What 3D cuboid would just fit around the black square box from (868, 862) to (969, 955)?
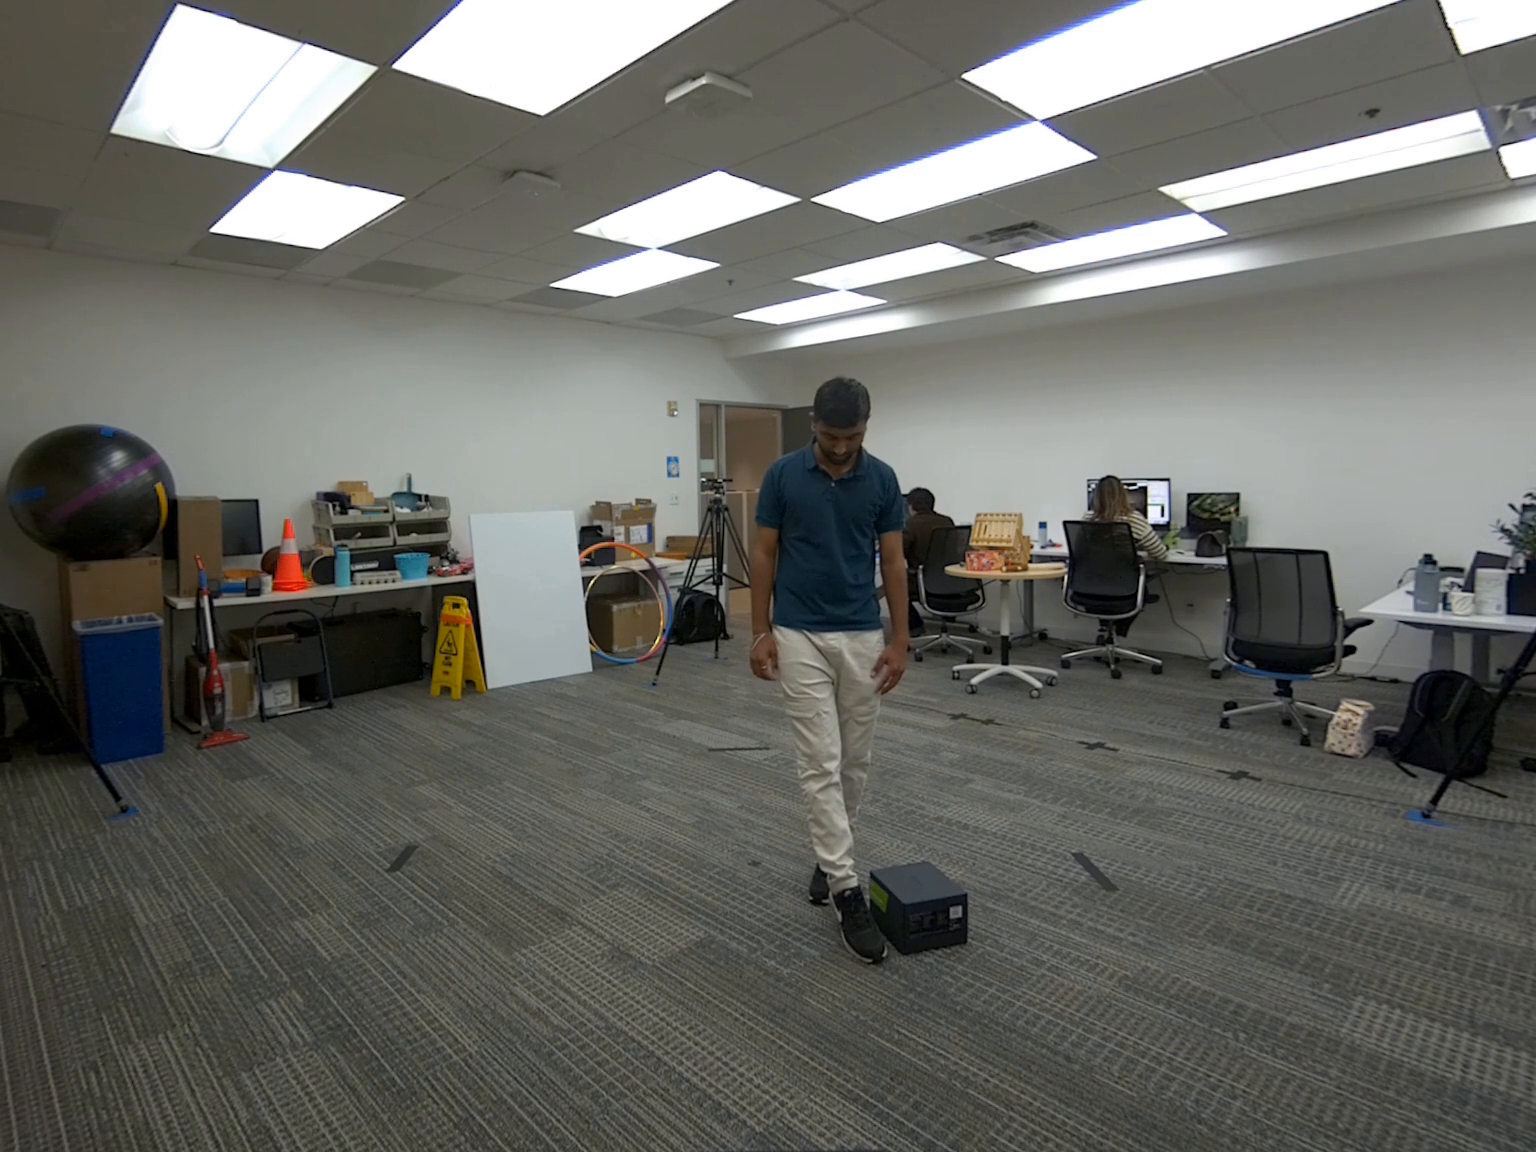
[{"bbox_3d":[0.456,1.006,2.619,0.213,0.155,0.232,-3,6,-18],"label":"black square box"}]
